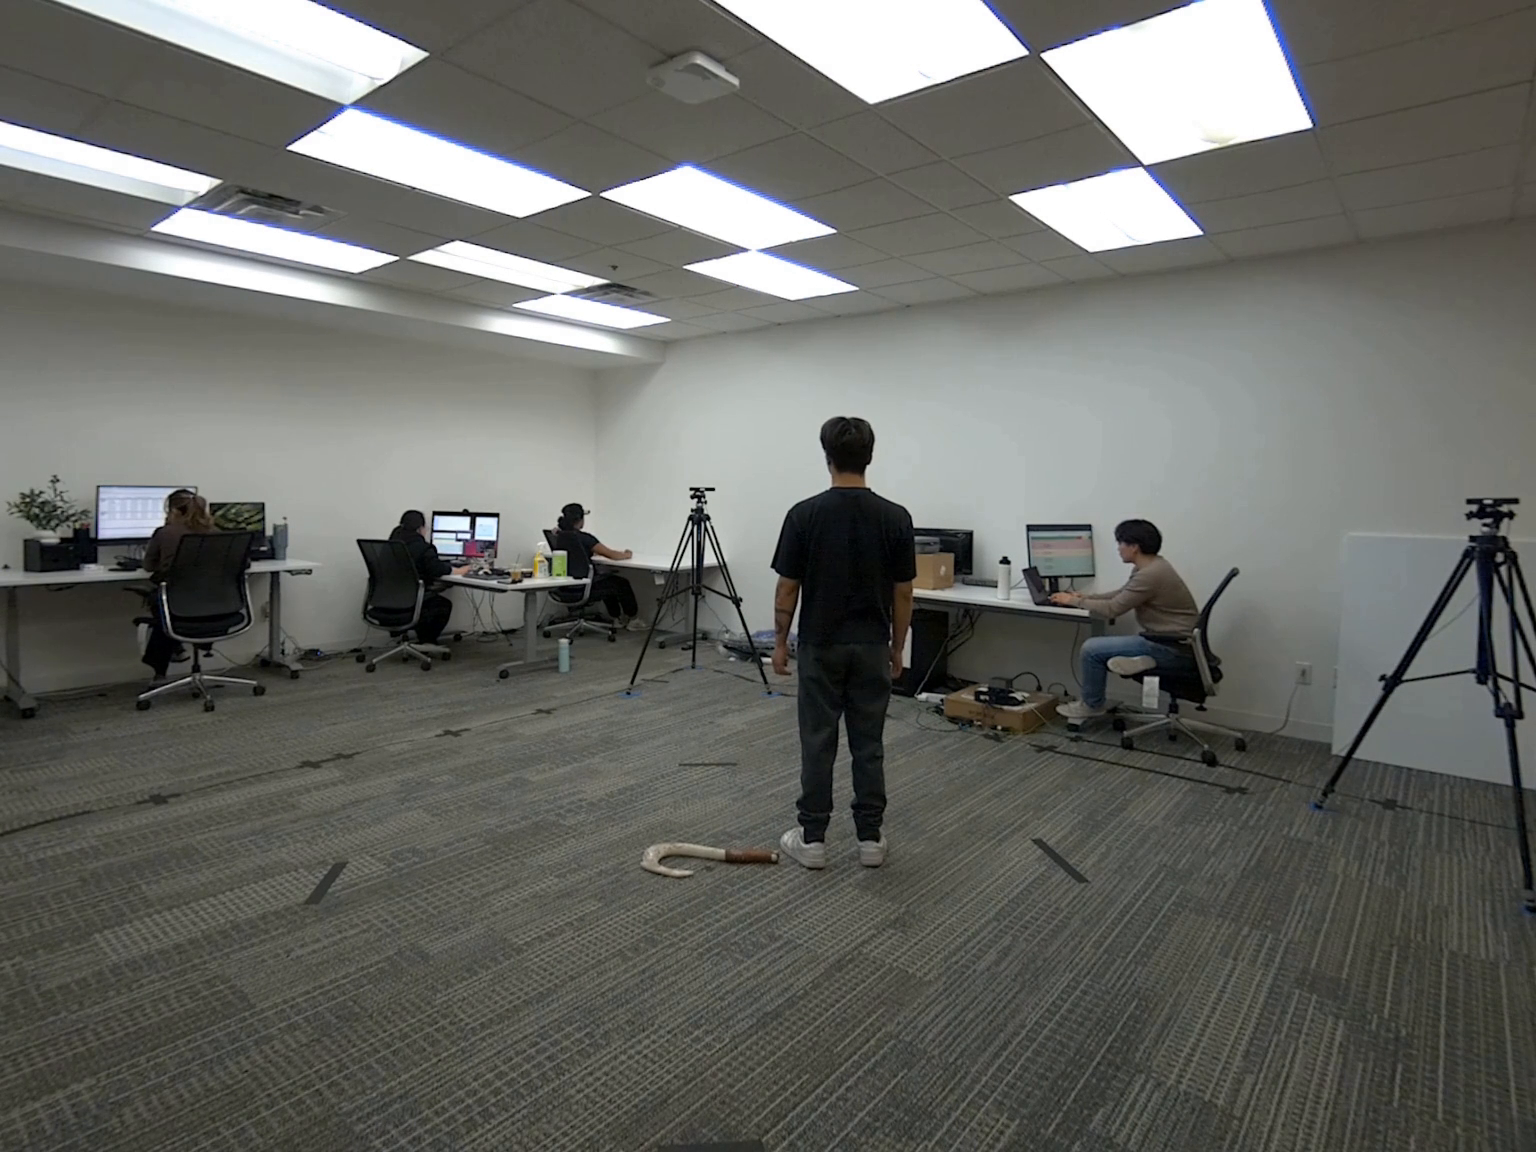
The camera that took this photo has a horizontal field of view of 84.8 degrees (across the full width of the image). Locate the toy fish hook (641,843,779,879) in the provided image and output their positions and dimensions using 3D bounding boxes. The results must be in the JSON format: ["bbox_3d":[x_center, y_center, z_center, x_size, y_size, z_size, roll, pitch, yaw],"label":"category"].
[{"bbox_3d":[-0.222,1.050,3.137,0.508,0.048,0.226,0,13,3],"label":"toy fish hook"}]
